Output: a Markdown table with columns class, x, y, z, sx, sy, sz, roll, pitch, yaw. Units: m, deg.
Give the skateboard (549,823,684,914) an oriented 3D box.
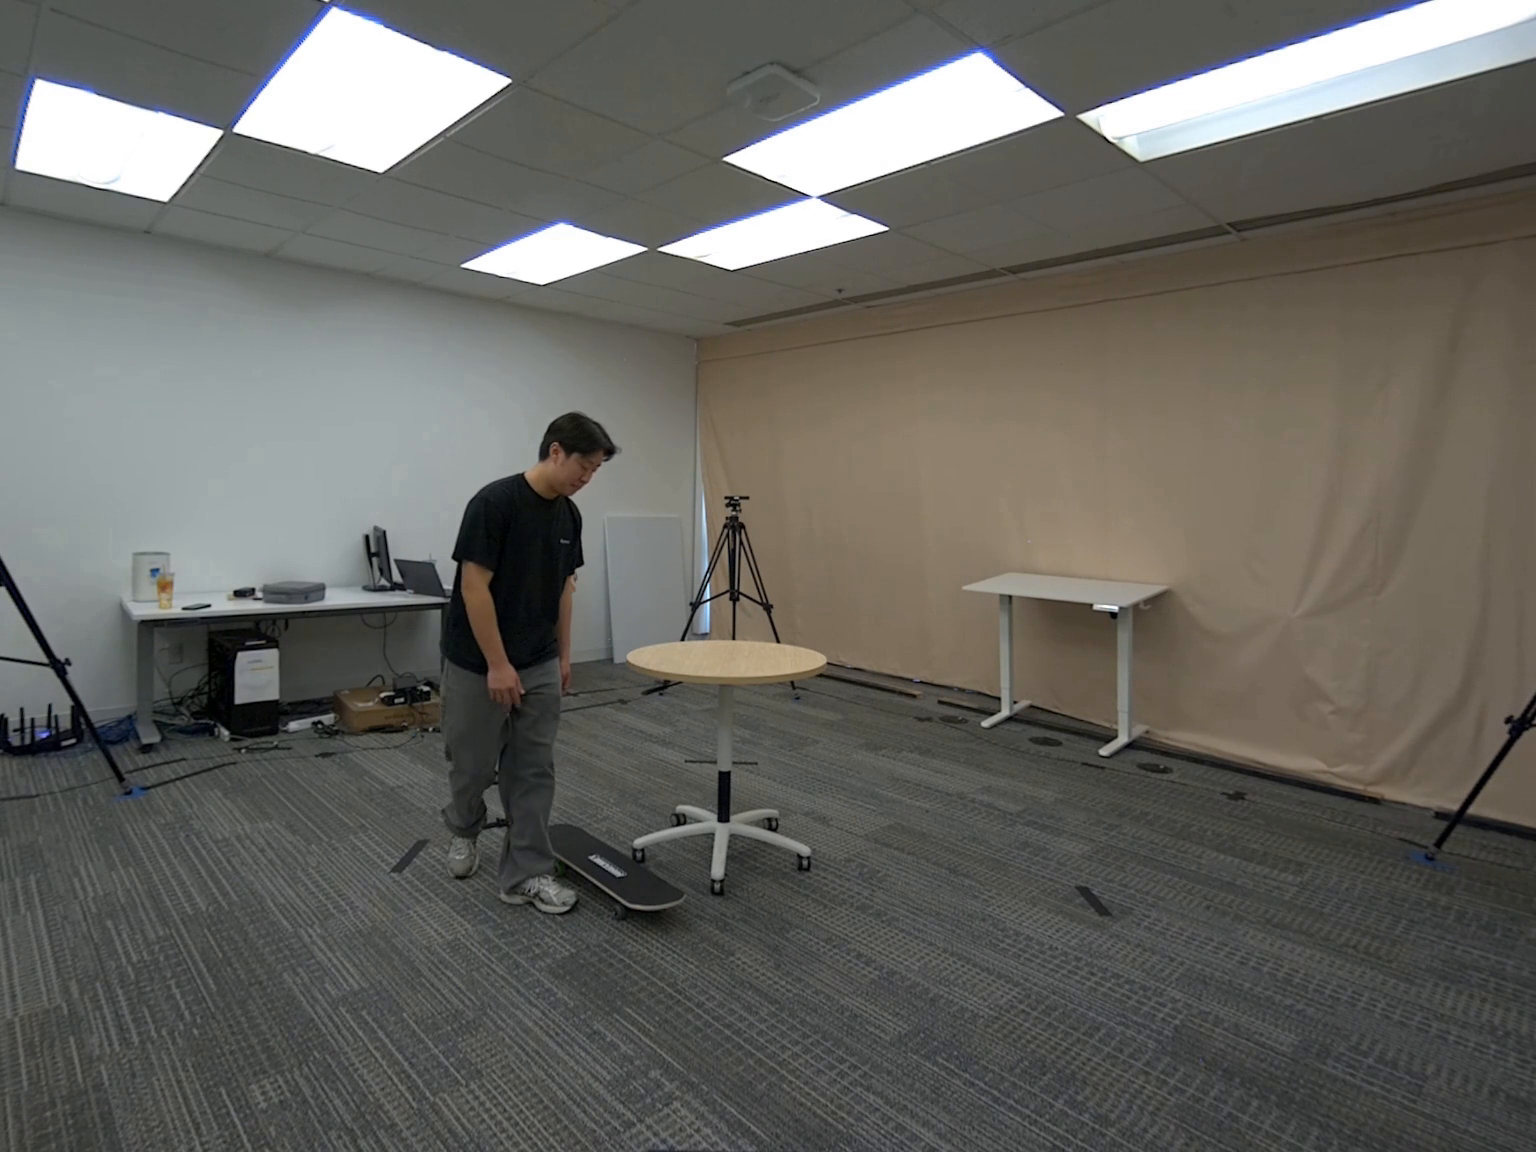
| class | x | y | z | sx | sy | sz | roll | pitch | yaw |
| --- | --- | --- | --- | --- | --- | --- | --- | --- | --- |
| skateboard | -0.577 | 1.056 | 2.967 | 0.189 | 0.110 | 0.806 | -1 | 6 | -42 |
